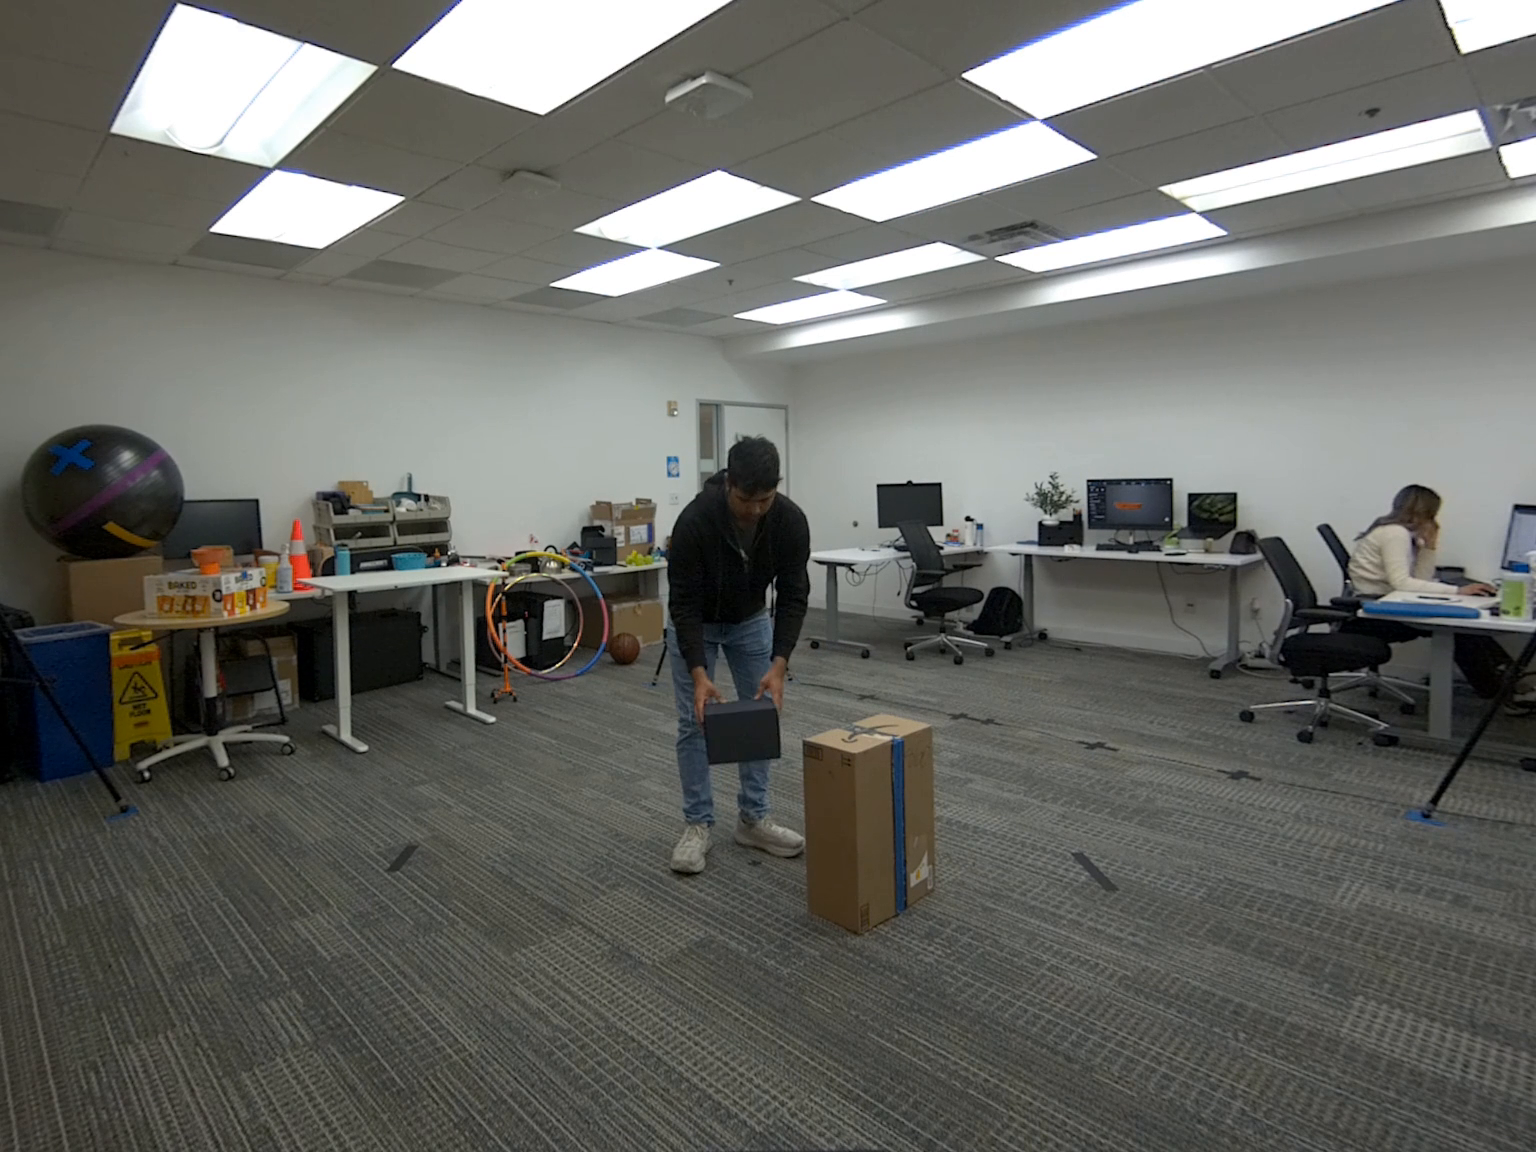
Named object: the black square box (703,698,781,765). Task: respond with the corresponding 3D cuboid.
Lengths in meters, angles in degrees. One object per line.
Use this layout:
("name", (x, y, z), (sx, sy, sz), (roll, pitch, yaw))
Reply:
("black square box", (-0.081, 0.498, 2.721), (0.227, 0.156, 0.218), (-4, 1, -4))
